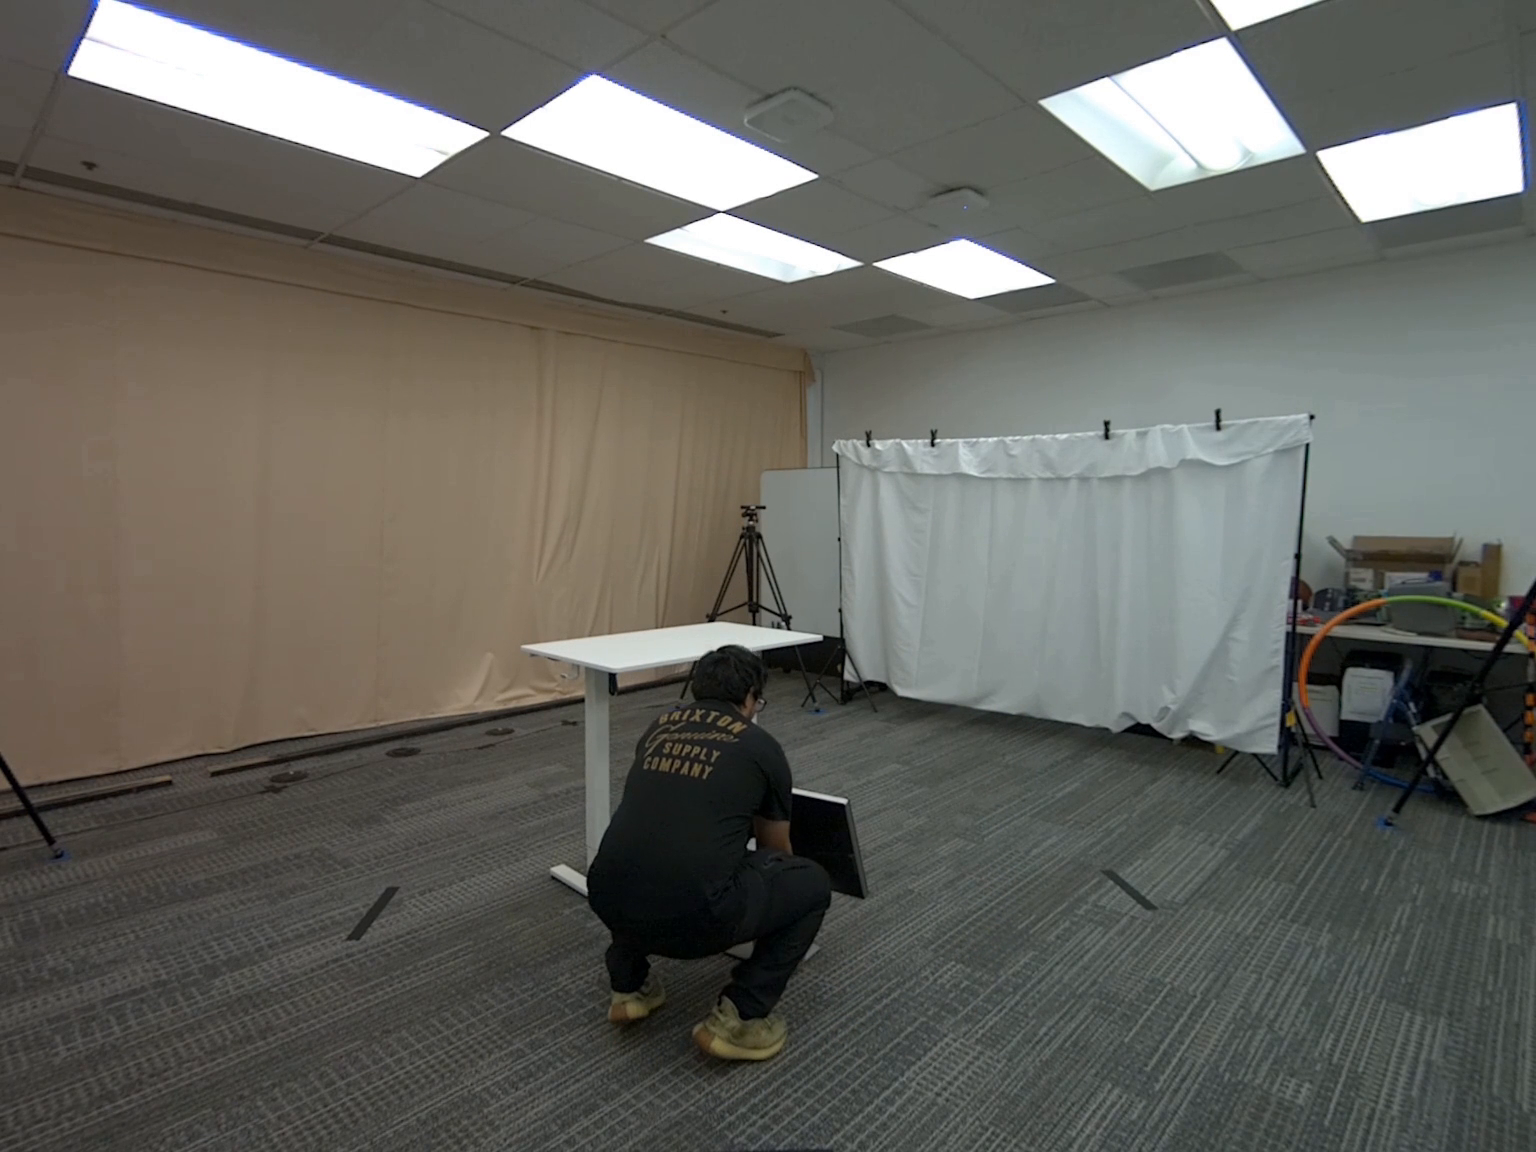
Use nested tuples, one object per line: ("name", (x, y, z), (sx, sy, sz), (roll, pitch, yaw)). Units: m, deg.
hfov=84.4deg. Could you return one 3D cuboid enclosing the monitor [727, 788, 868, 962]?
("monitor", (-0.002, 0.908, 2.593), (0.583, 0.549, 0.205), (3, 14, 34))
